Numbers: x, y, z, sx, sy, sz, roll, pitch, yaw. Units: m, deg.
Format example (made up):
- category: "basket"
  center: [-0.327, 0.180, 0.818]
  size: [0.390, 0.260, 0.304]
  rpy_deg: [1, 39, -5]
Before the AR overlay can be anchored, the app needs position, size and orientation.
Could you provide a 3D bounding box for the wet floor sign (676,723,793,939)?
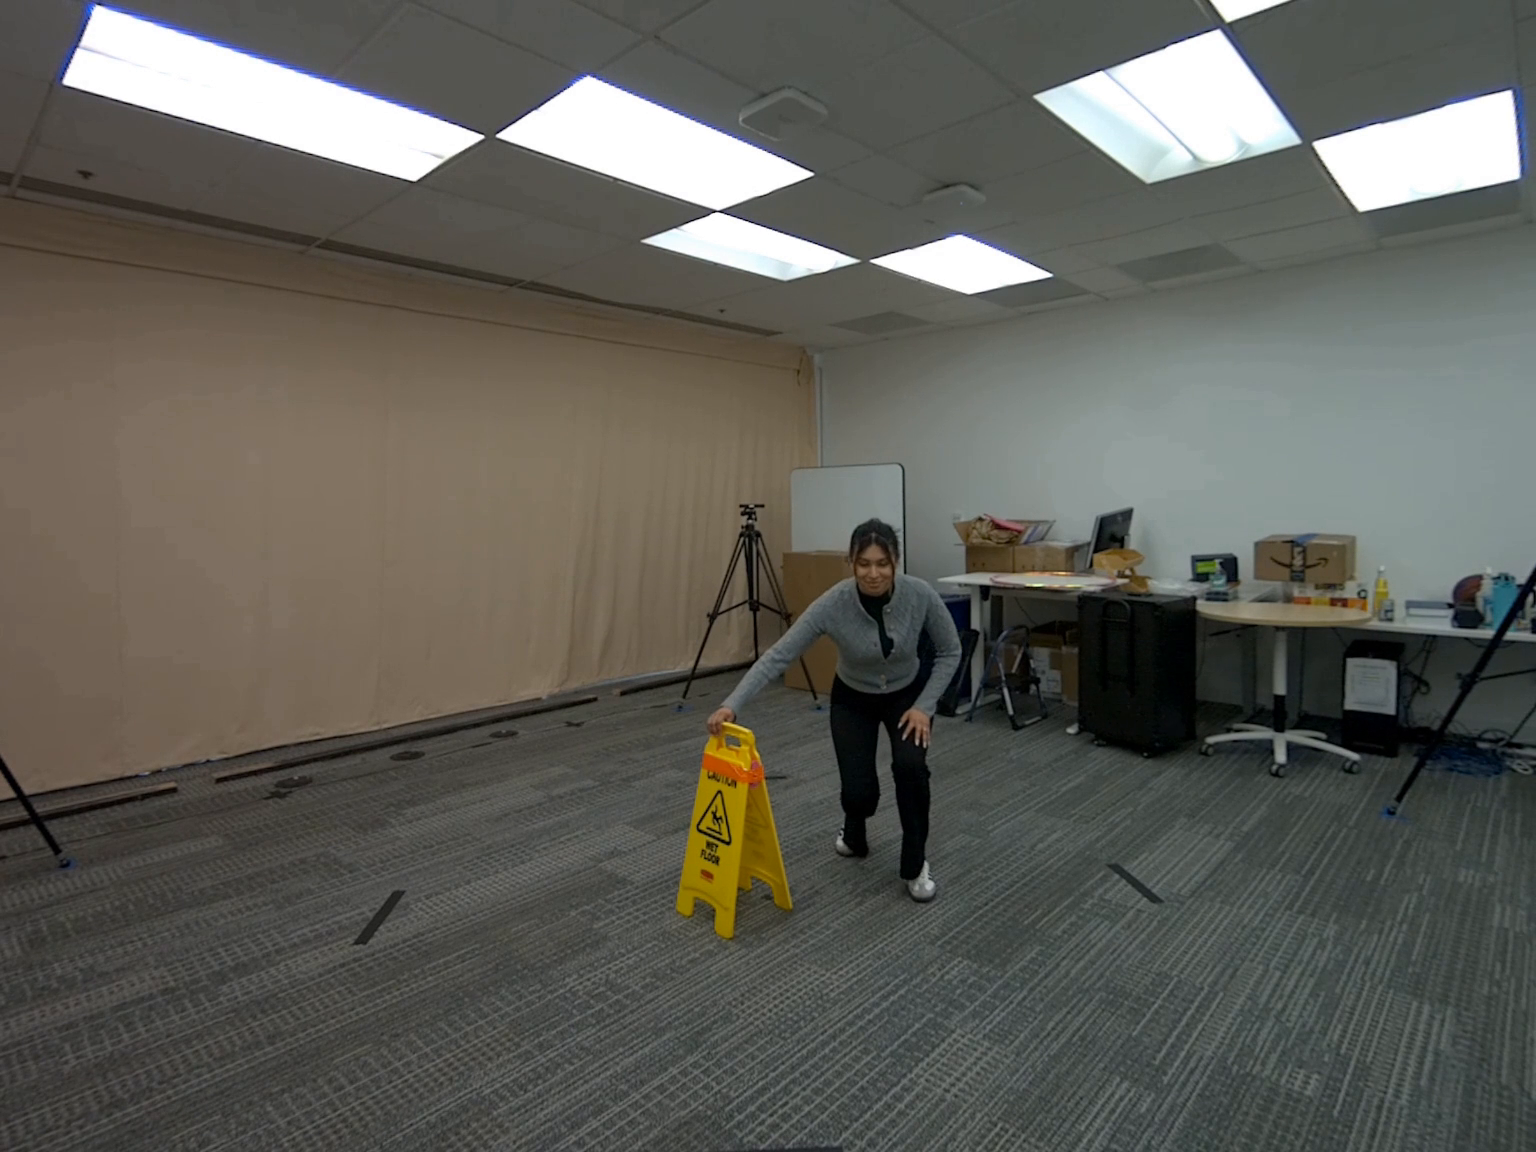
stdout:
- category: "wet floor sign"
  center: [-0.116, 0.827, 2.872]
  size: [0.281, 0.645, 0.291]
  rpy_deg: [-4, 5, -43]
